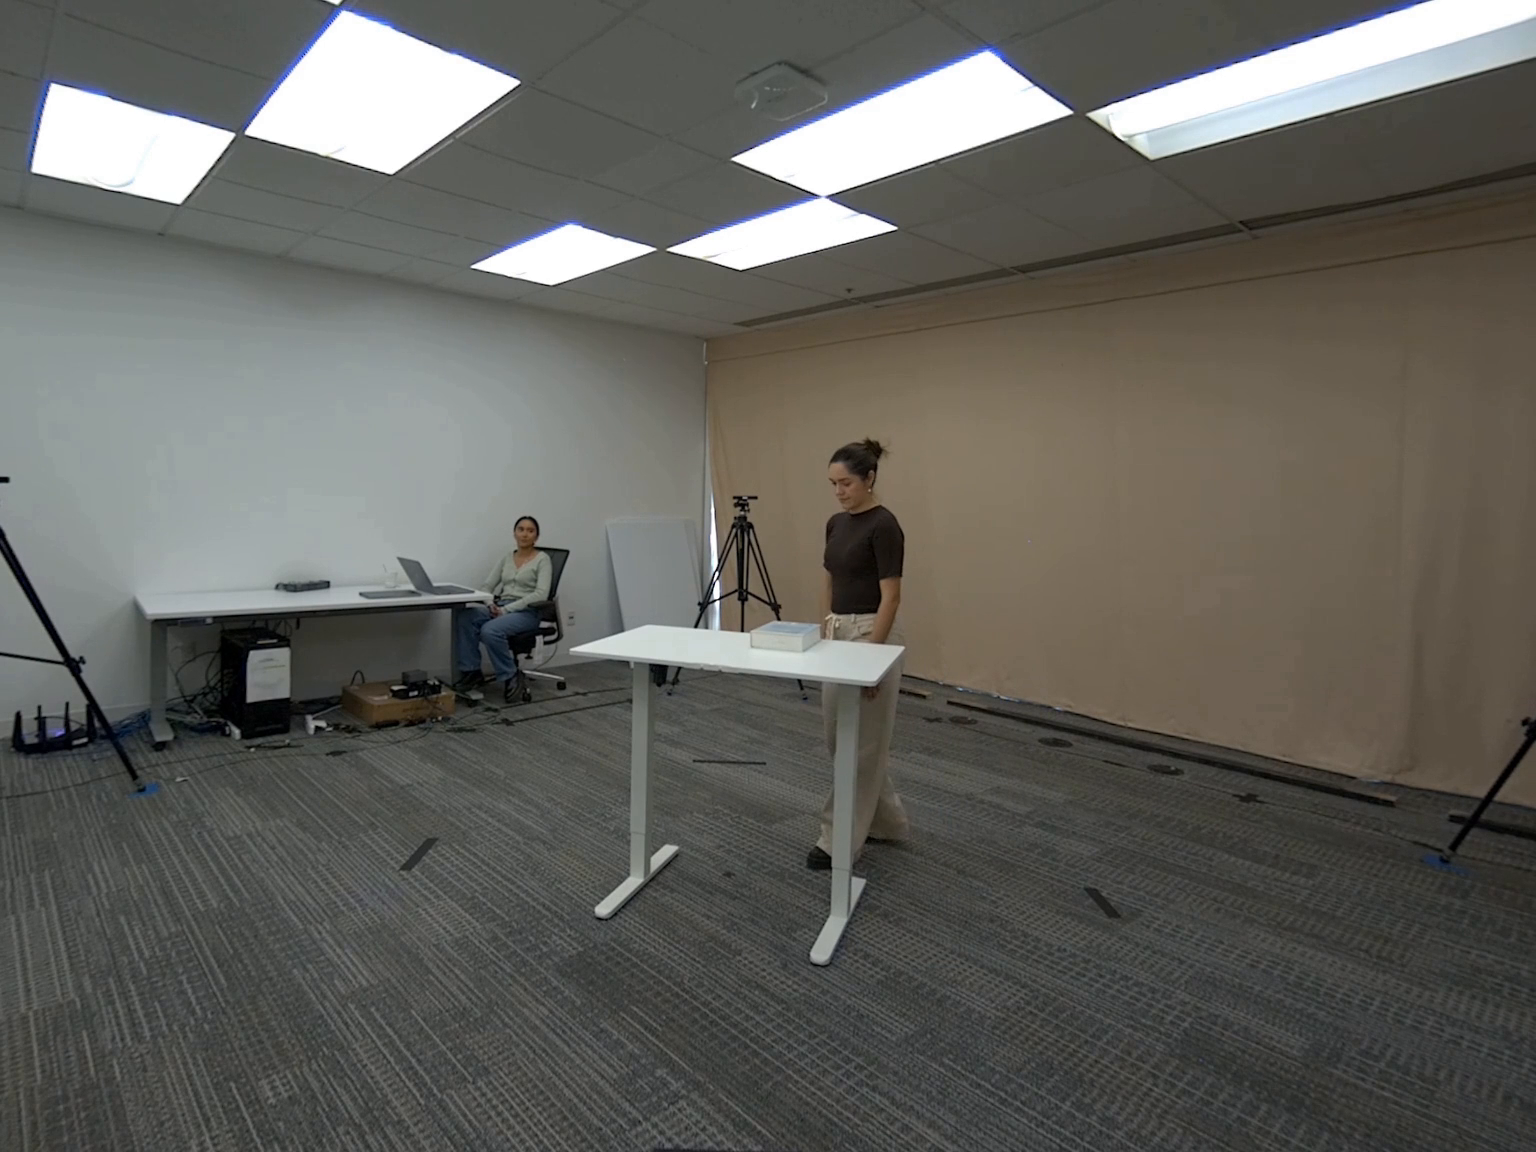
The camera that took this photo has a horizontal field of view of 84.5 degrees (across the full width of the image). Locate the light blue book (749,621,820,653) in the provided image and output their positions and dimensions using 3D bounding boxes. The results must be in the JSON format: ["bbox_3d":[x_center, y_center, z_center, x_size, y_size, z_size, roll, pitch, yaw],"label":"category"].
[{"bbox_3d":[0.067,0.210,2.950,0.194,0.059,0.258,5,6,18],"label":"light blue book"}]
